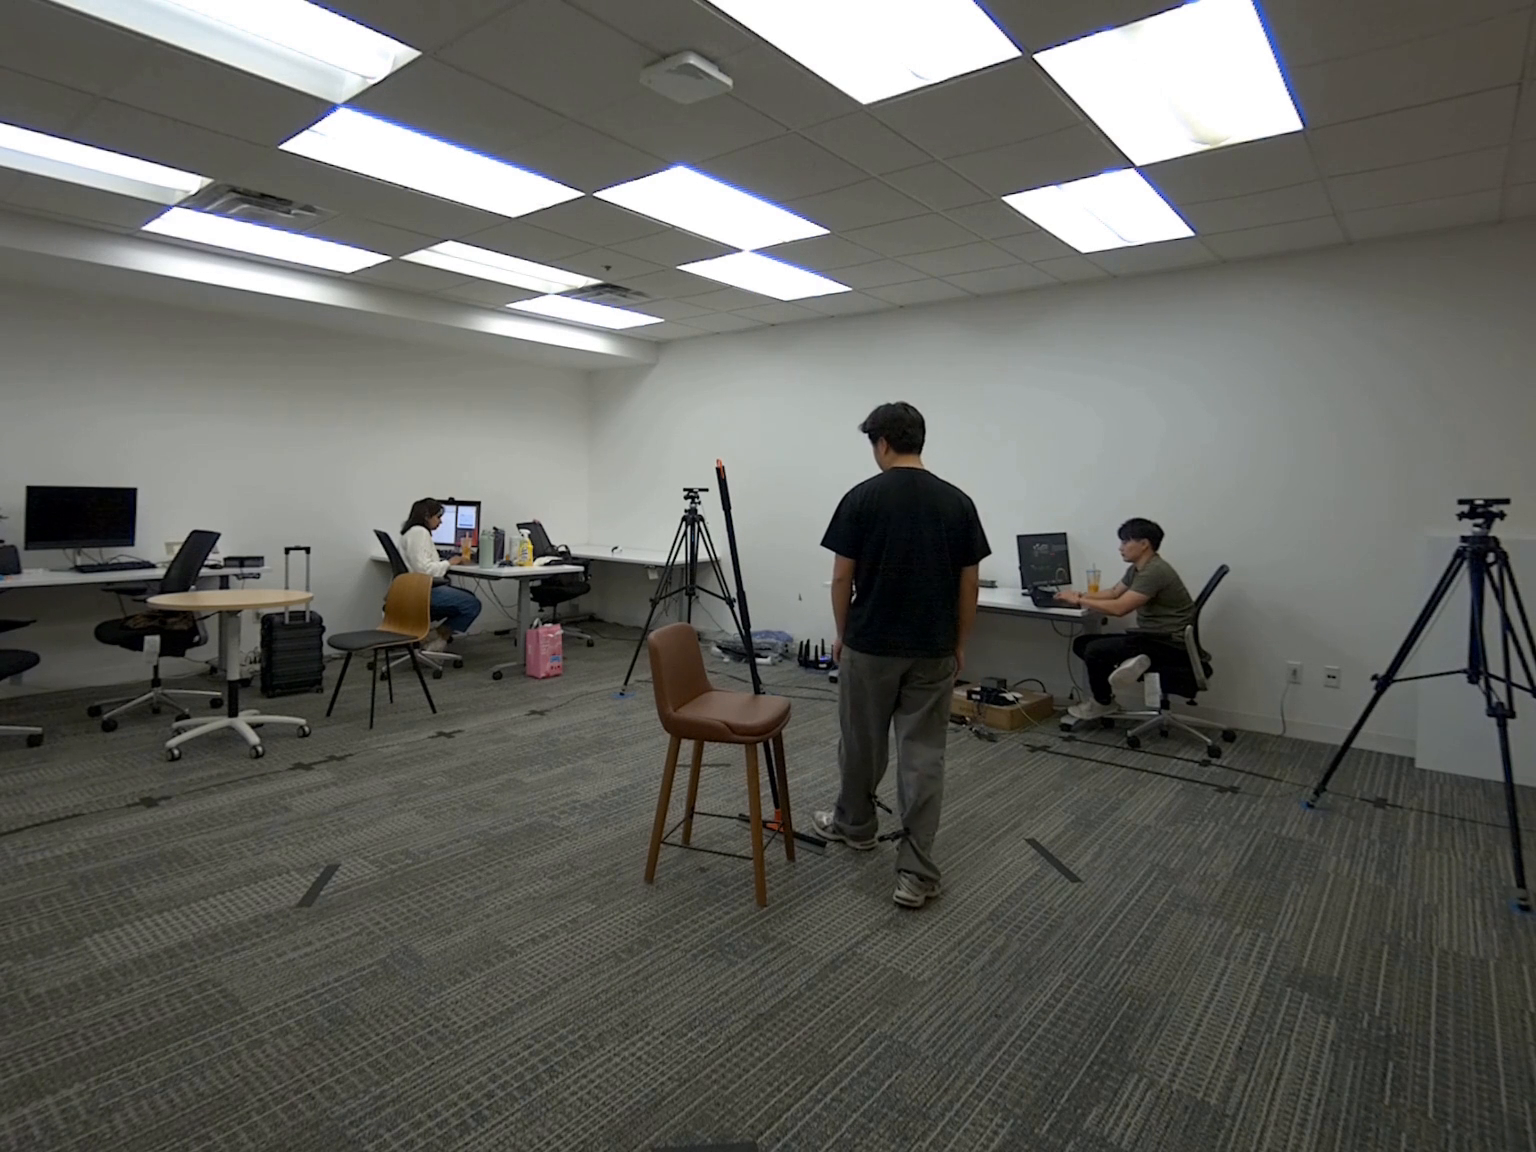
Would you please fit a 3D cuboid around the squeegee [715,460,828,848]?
[{"bbox_3d":[-0.072,0.306,3.244,0.052,1.517,0.452,-20,16,-41],"label":"squeegee"}]
